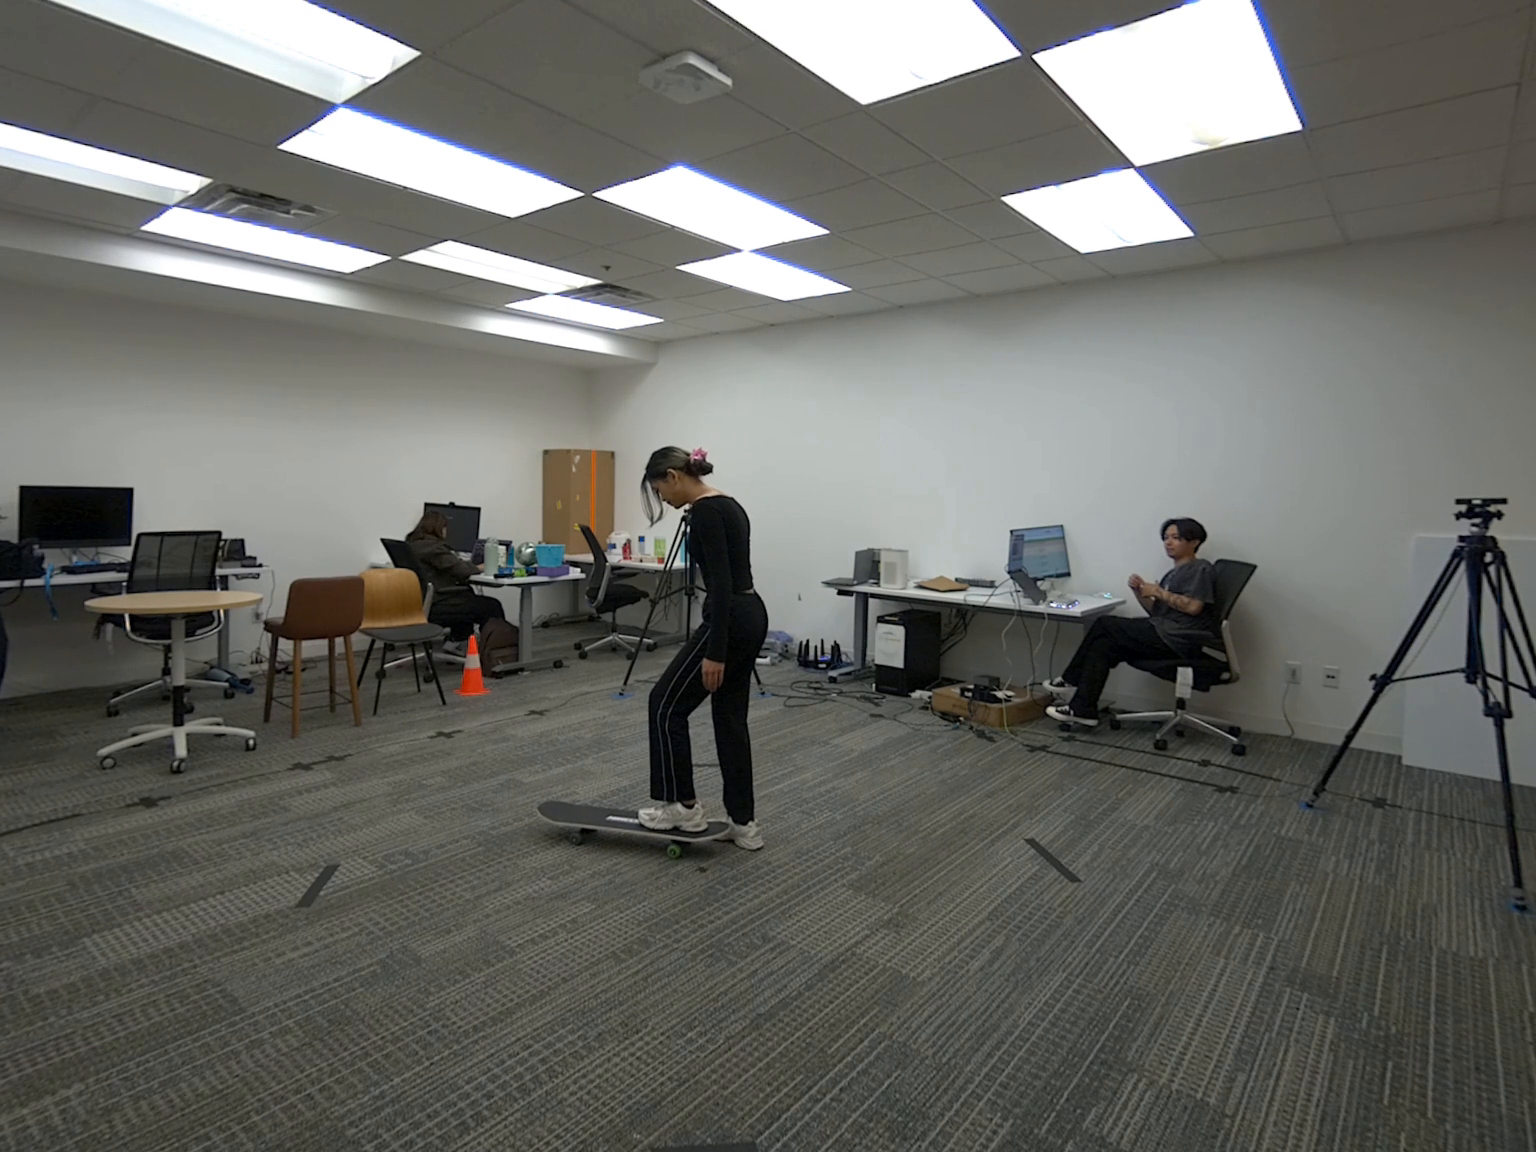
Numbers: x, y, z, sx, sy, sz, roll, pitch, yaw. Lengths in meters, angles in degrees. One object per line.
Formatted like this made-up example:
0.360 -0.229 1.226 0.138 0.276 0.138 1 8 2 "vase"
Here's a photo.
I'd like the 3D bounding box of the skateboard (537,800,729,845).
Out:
-0.551 0.989 3.332 0.797 0.110 0.191 3 6 14 "skateboard"
